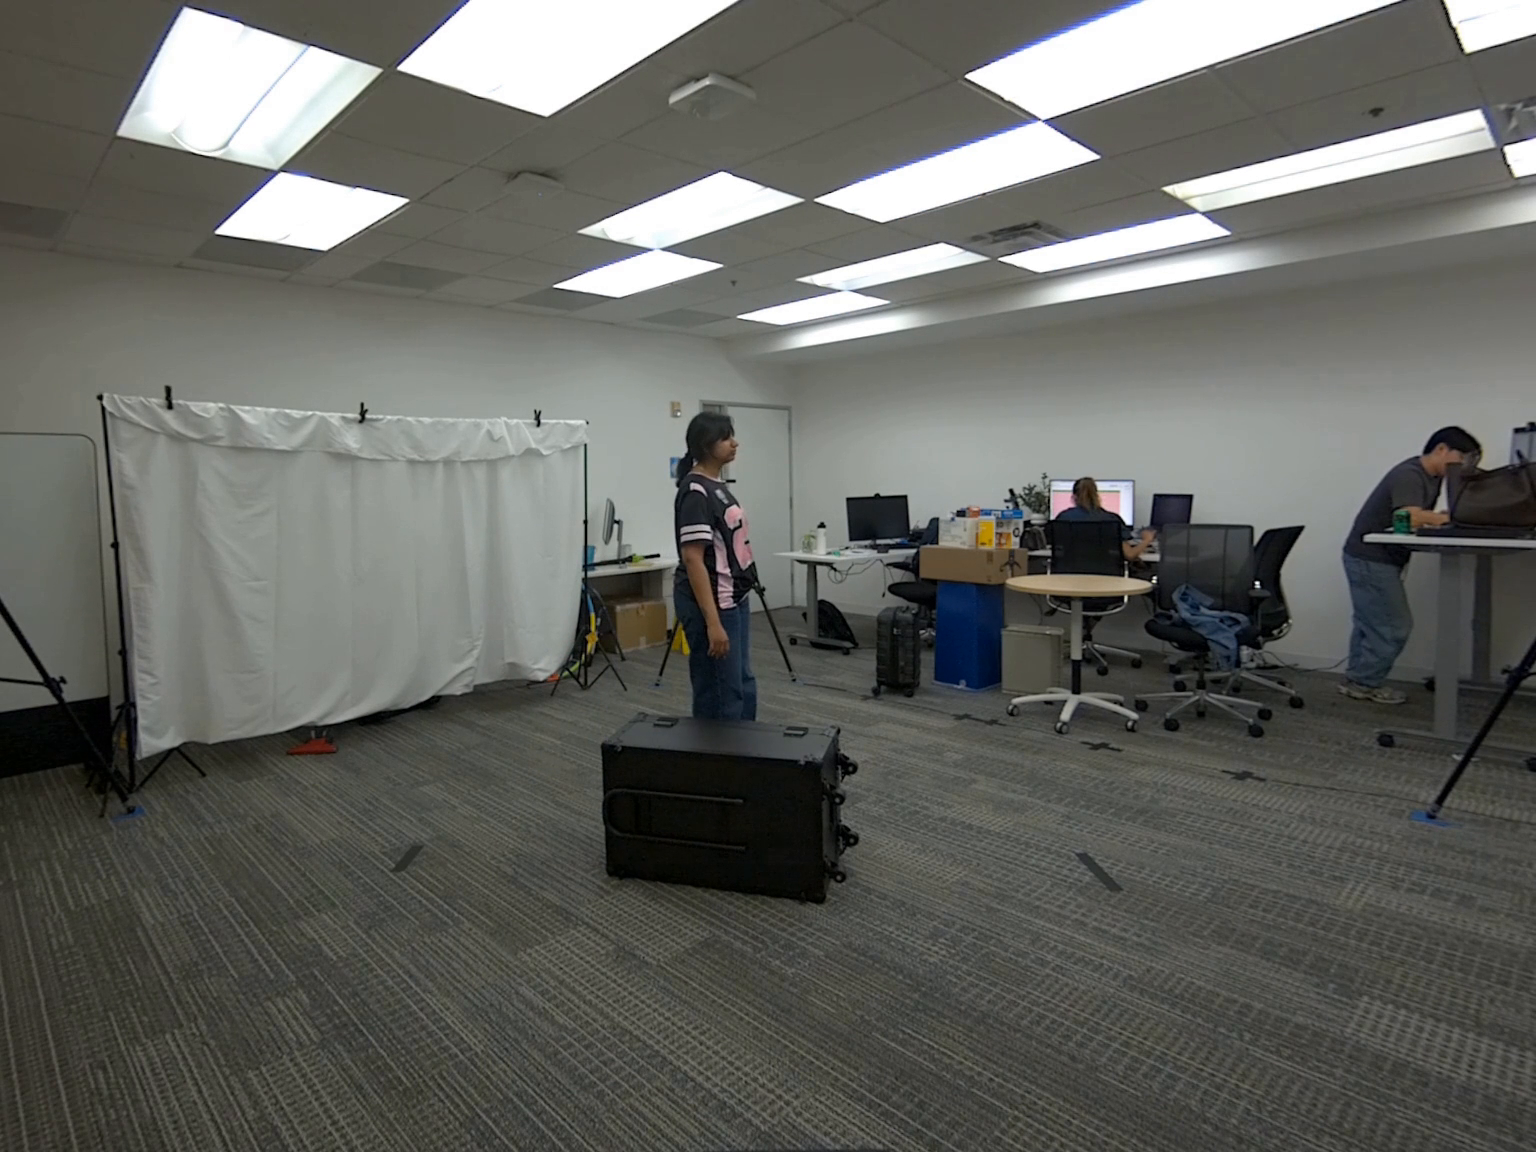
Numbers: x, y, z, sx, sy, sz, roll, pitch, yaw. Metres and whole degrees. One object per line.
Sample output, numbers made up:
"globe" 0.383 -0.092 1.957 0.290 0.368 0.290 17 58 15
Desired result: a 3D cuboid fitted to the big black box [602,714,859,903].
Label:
"big black box" -0.123 0.799 3.046 0.883 0.521 0.381 1 5 17
